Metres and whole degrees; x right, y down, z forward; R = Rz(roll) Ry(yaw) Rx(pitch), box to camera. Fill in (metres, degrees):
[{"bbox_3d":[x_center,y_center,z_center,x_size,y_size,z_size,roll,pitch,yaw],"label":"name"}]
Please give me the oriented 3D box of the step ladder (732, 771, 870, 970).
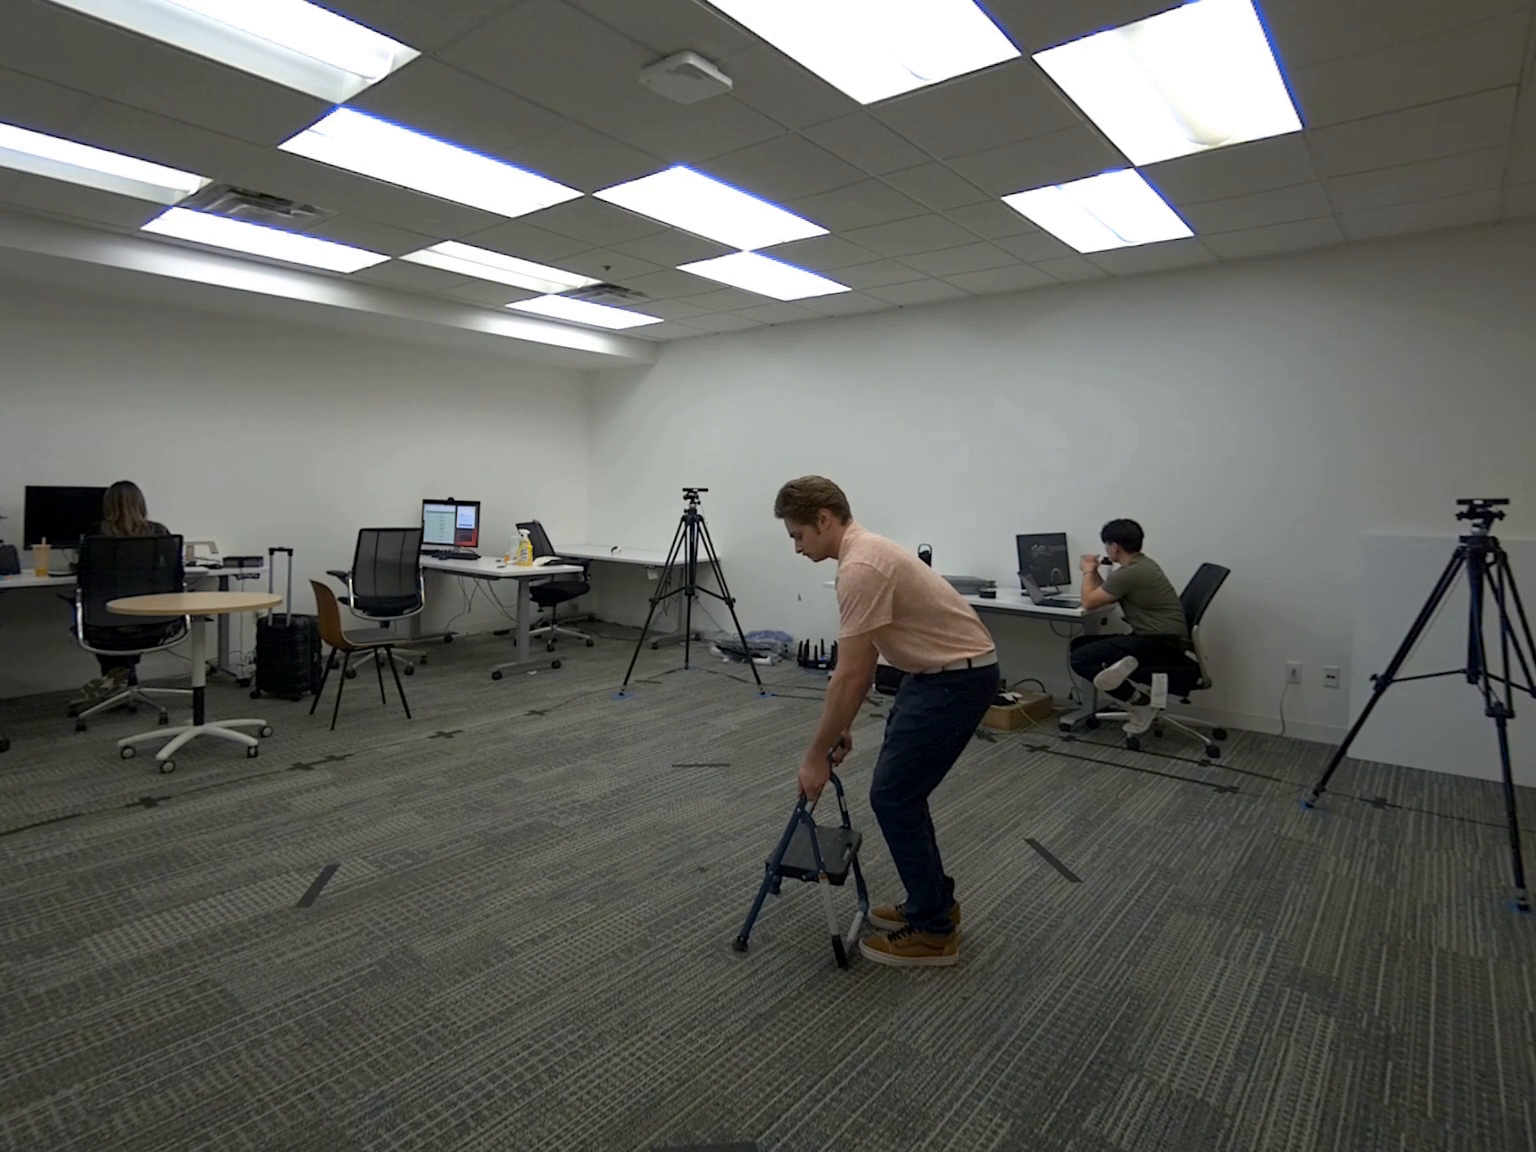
[{"bbox_3d":[0.117,0.802,2.692,0.356,0.604,0.424,3,4,17],"label":"step ladder"}]
